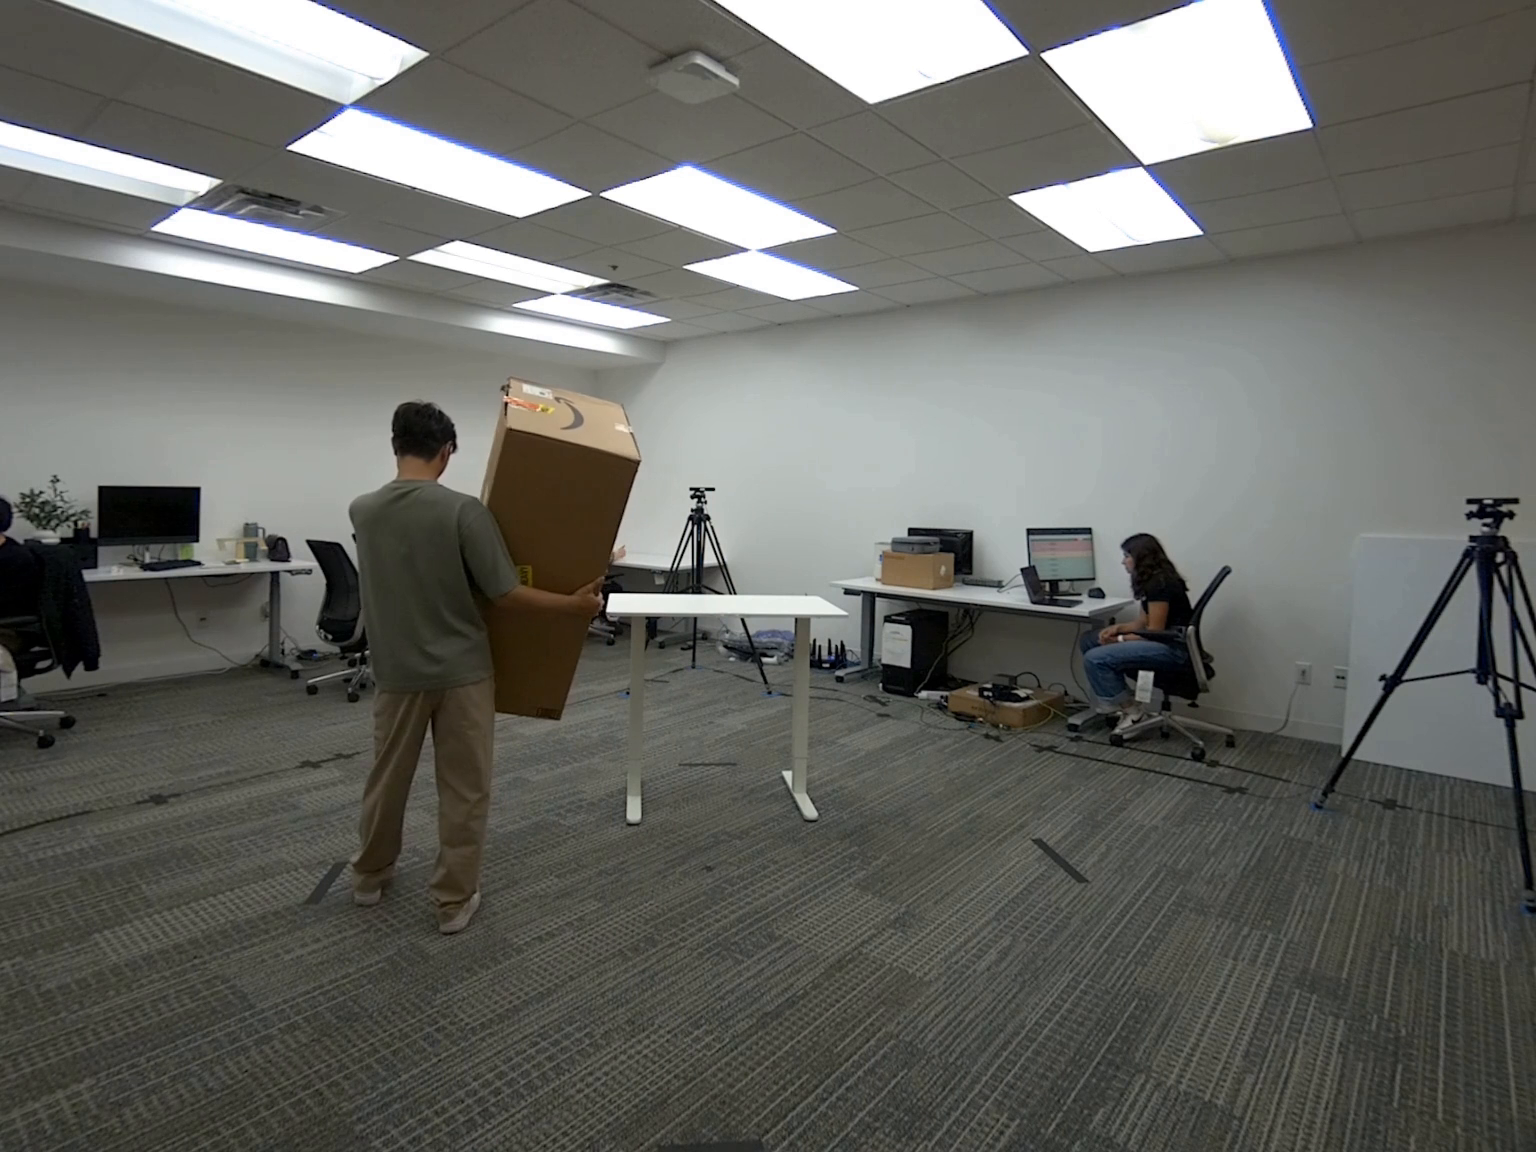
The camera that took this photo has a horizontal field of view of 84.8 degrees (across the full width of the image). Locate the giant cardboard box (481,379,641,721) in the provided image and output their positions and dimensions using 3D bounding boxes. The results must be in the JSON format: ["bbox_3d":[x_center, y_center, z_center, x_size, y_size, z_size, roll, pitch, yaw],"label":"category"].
[{"bbox_3d":[-0.843,-0.099,3.008,0.416,1.014,0.598,12,23,-21],"label":"giant cardboard box"}]
